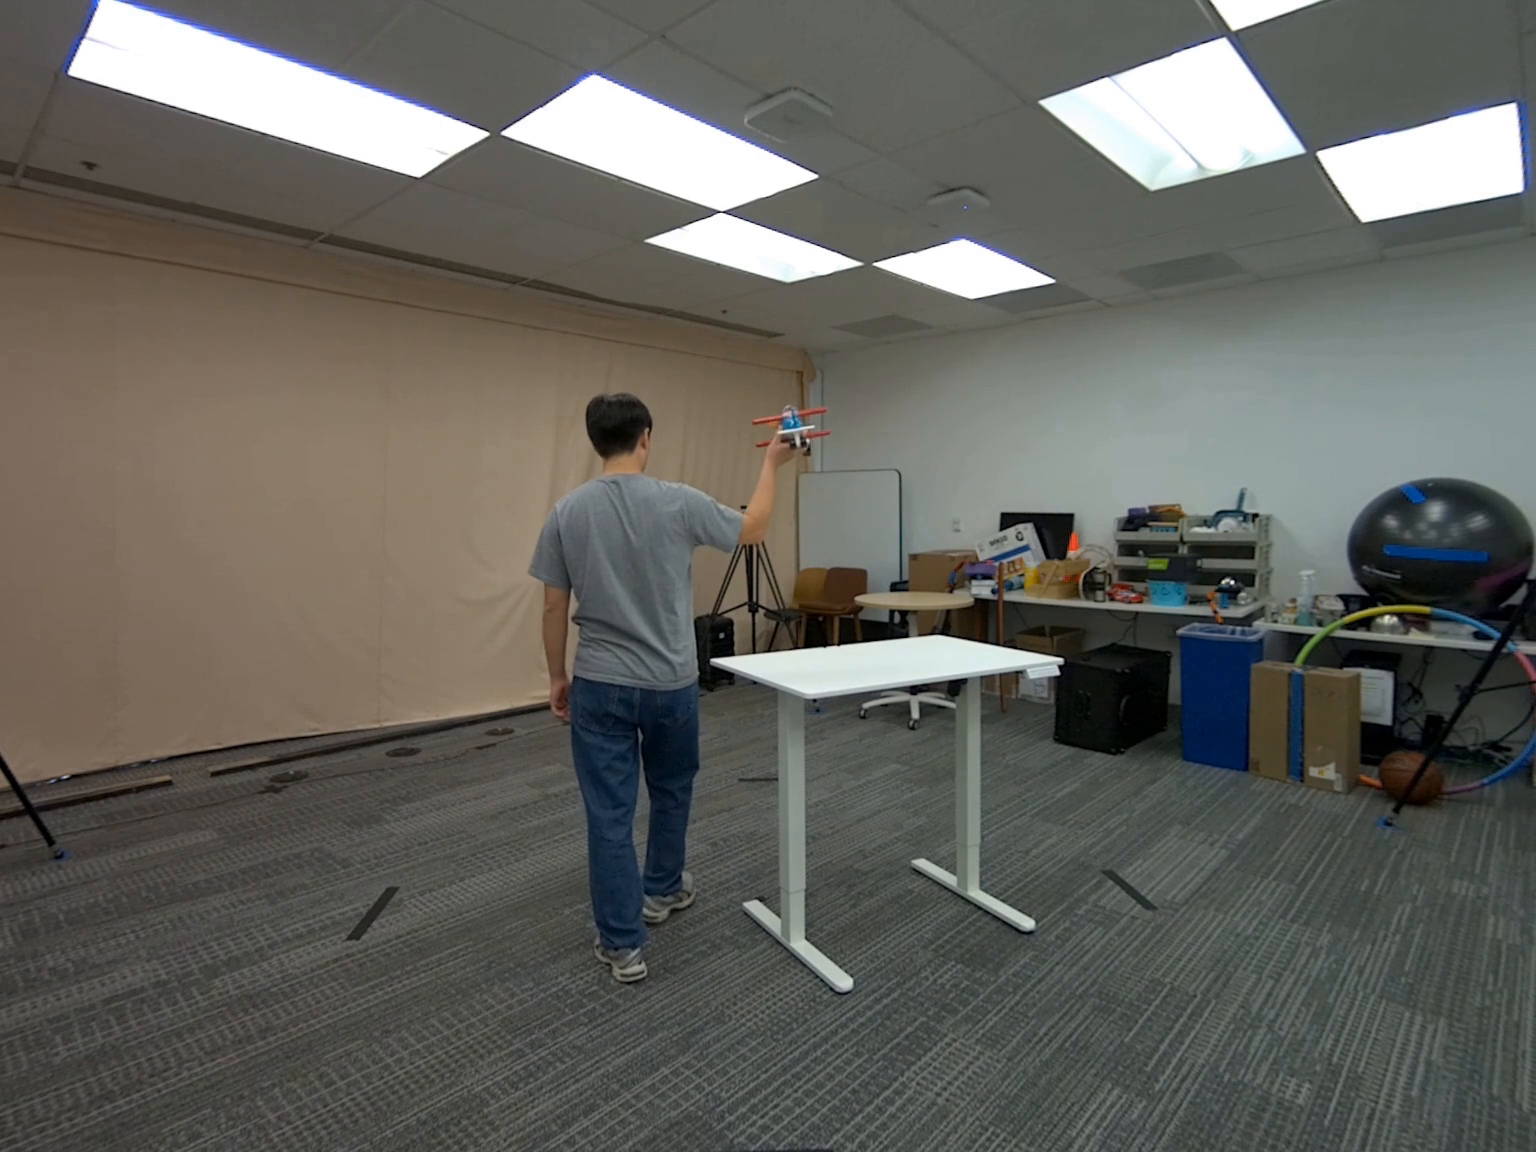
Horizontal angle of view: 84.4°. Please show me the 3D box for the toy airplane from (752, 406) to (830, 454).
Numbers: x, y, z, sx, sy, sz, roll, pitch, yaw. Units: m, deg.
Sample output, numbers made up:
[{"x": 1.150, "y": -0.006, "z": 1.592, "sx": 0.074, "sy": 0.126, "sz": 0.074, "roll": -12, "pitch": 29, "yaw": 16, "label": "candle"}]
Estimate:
[{"x": 0.109, "y": -0.480, "z": 2.796, "sx": 0.245, "sy": 0.157, "sz": 0.264, "roll": -8, "pitch": -4, "yaw": -29, "label": "toy airplane"}]
